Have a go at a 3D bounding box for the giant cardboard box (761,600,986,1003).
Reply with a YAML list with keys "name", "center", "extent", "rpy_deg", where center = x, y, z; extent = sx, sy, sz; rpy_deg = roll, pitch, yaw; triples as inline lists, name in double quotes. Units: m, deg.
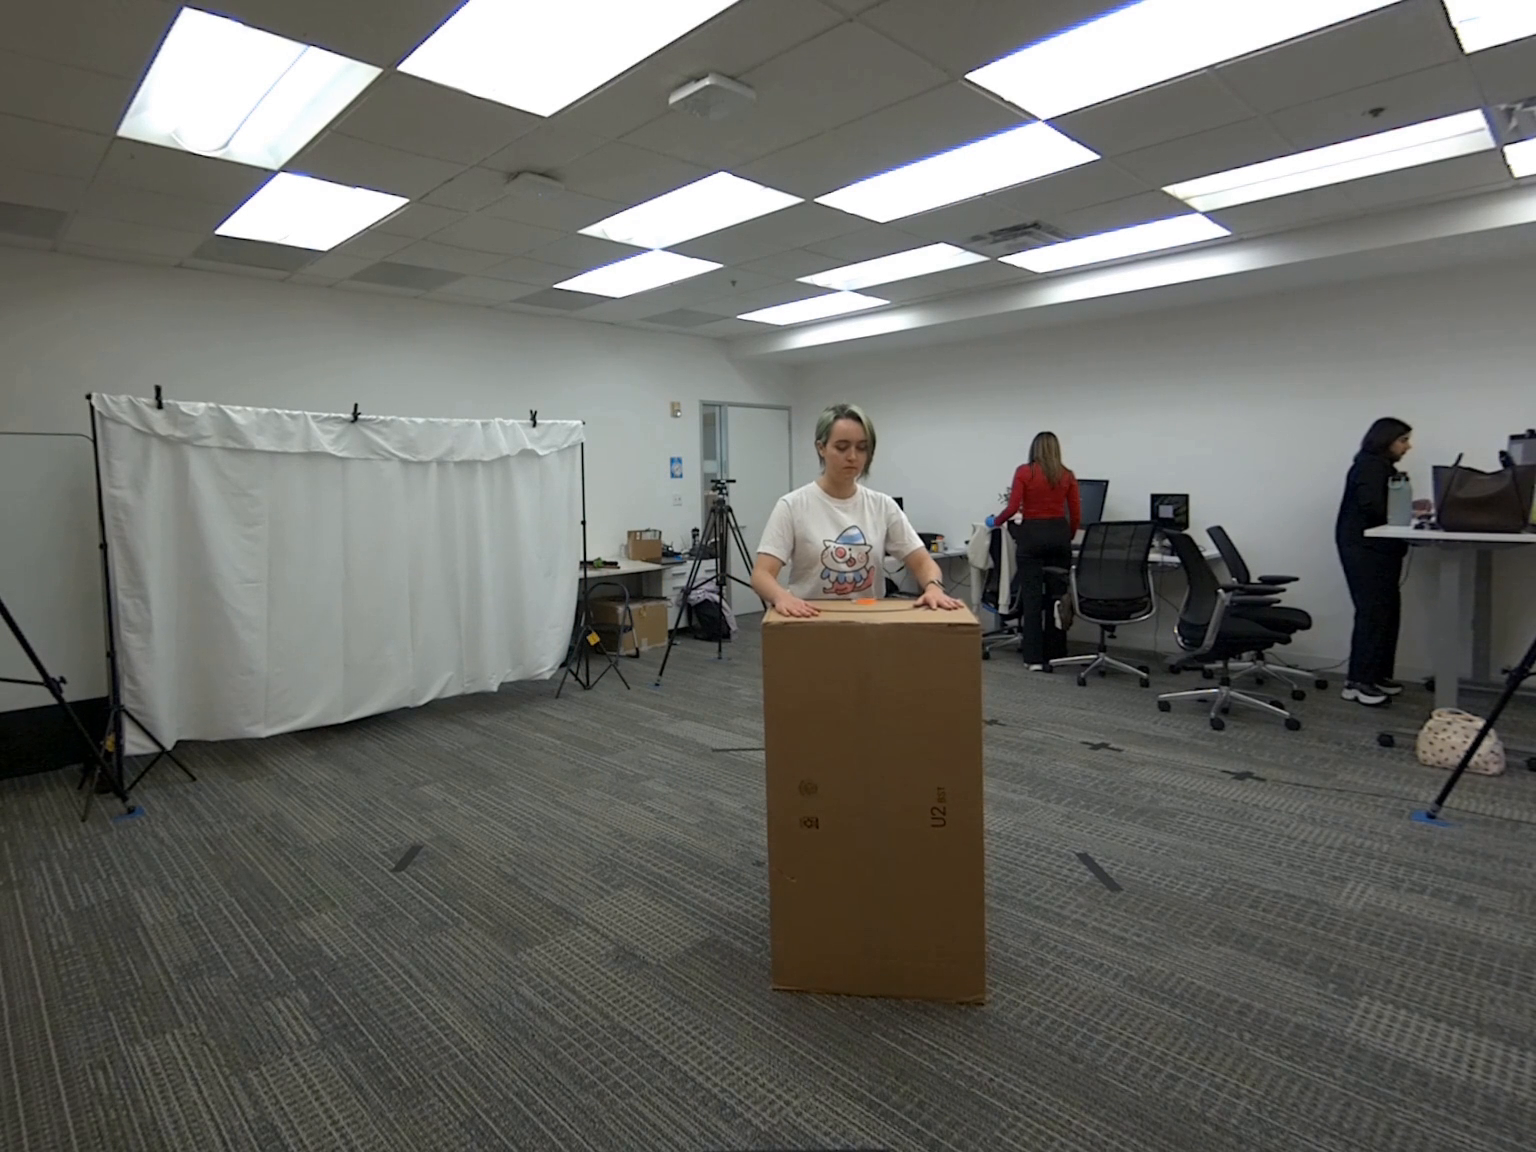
- name: "giant cardboard box"
  center: [0.307, 0.608, 2.470]
  extent: [0.589, 1.023, 0.445]
  rpy_deg: [-1, 5, 8]
